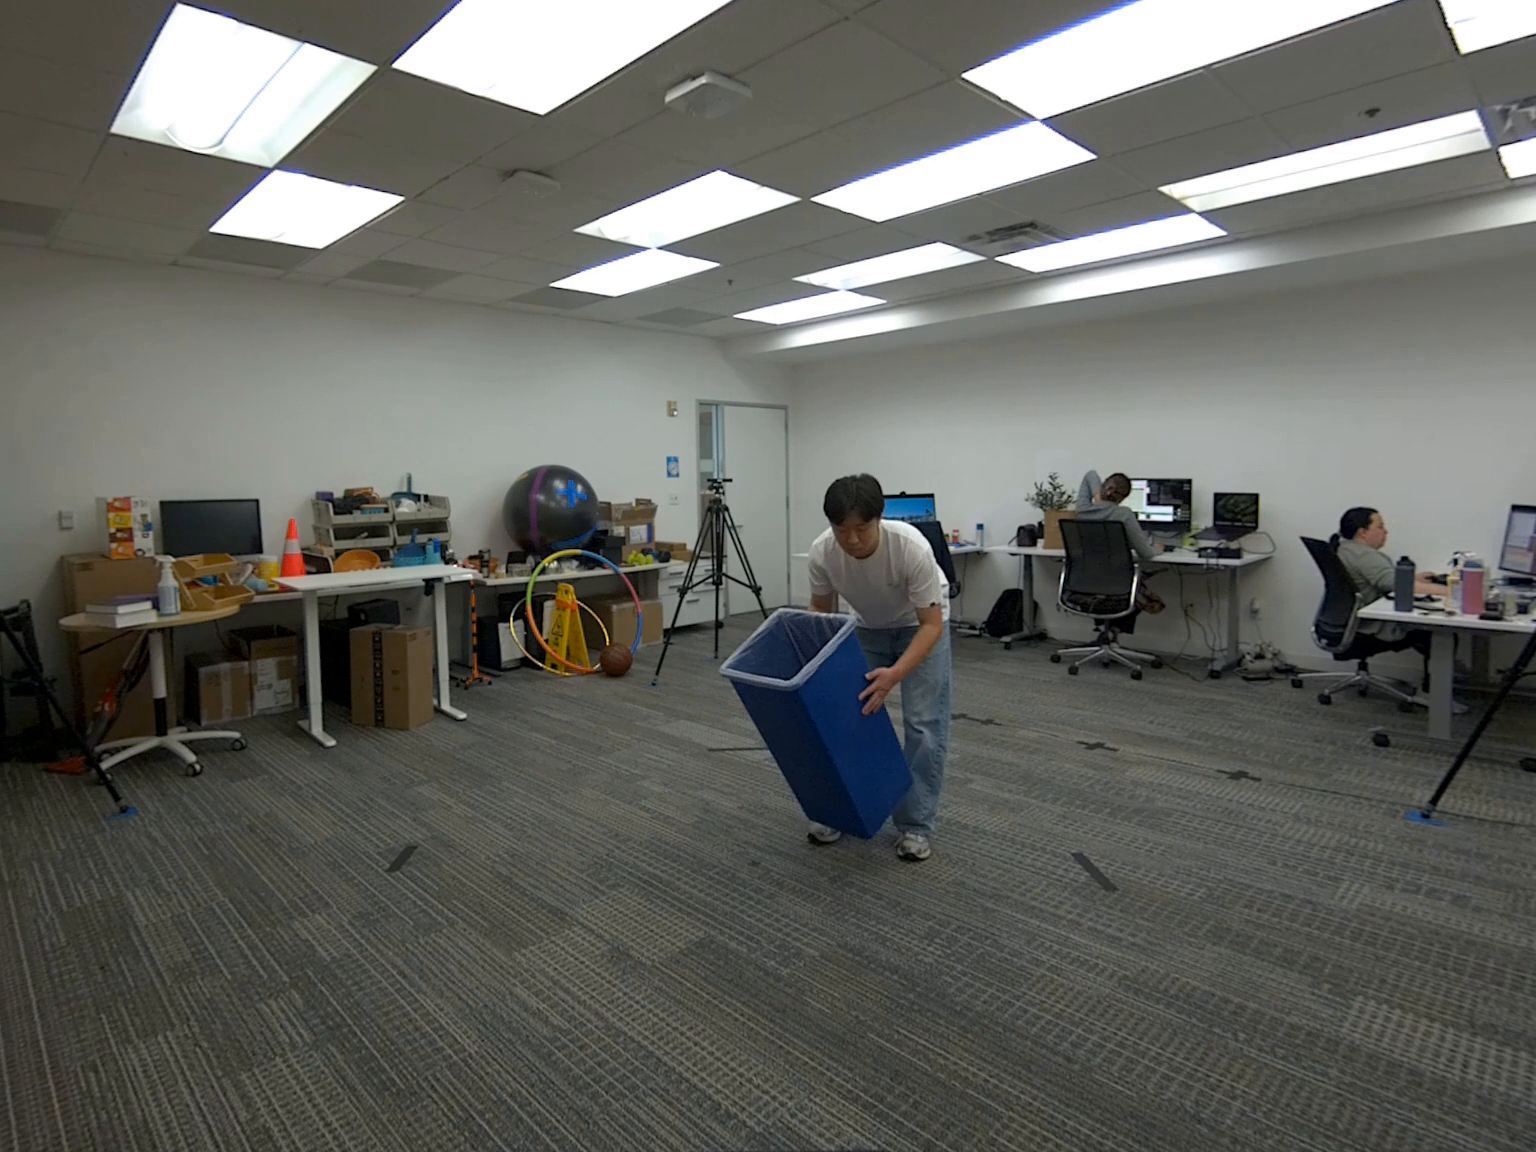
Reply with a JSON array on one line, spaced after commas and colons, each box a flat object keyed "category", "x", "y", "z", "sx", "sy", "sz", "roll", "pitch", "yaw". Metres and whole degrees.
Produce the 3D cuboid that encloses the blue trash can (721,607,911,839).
[{"category": "blue trash can", "x": 0.194, "y": 0.539, "z": 2.965, "sx": 0.389, "sy": 0.697, "sz": 0.372, "roll": 1, "pitch": 32, "yaw": 49}]
